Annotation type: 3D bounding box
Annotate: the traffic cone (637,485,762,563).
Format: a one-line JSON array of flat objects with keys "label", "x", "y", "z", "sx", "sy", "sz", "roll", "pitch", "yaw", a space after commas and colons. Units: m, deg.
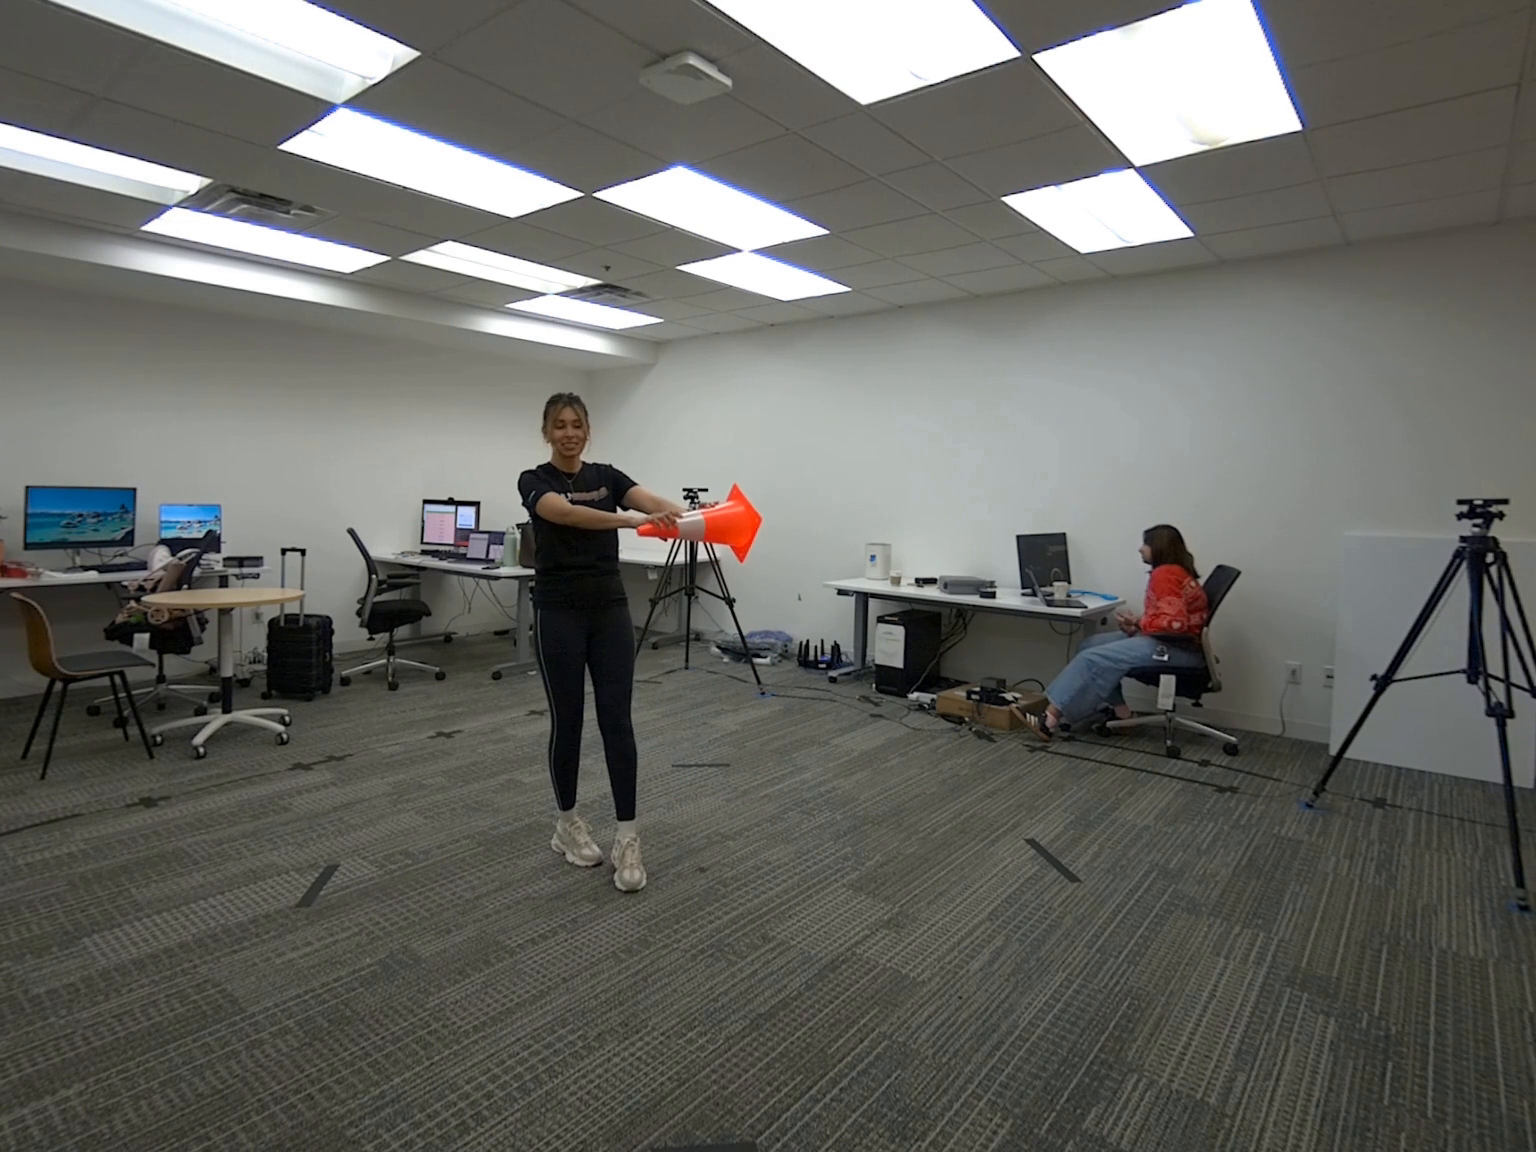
[{"label": "traffic cone", "x": -0.262, "y": -0.156, "z": 2.754, "sx": 0.374, "sy": 0.202, "sz": 0.212, "roll": -8, "pitch": 46, "yaw": -32}]
